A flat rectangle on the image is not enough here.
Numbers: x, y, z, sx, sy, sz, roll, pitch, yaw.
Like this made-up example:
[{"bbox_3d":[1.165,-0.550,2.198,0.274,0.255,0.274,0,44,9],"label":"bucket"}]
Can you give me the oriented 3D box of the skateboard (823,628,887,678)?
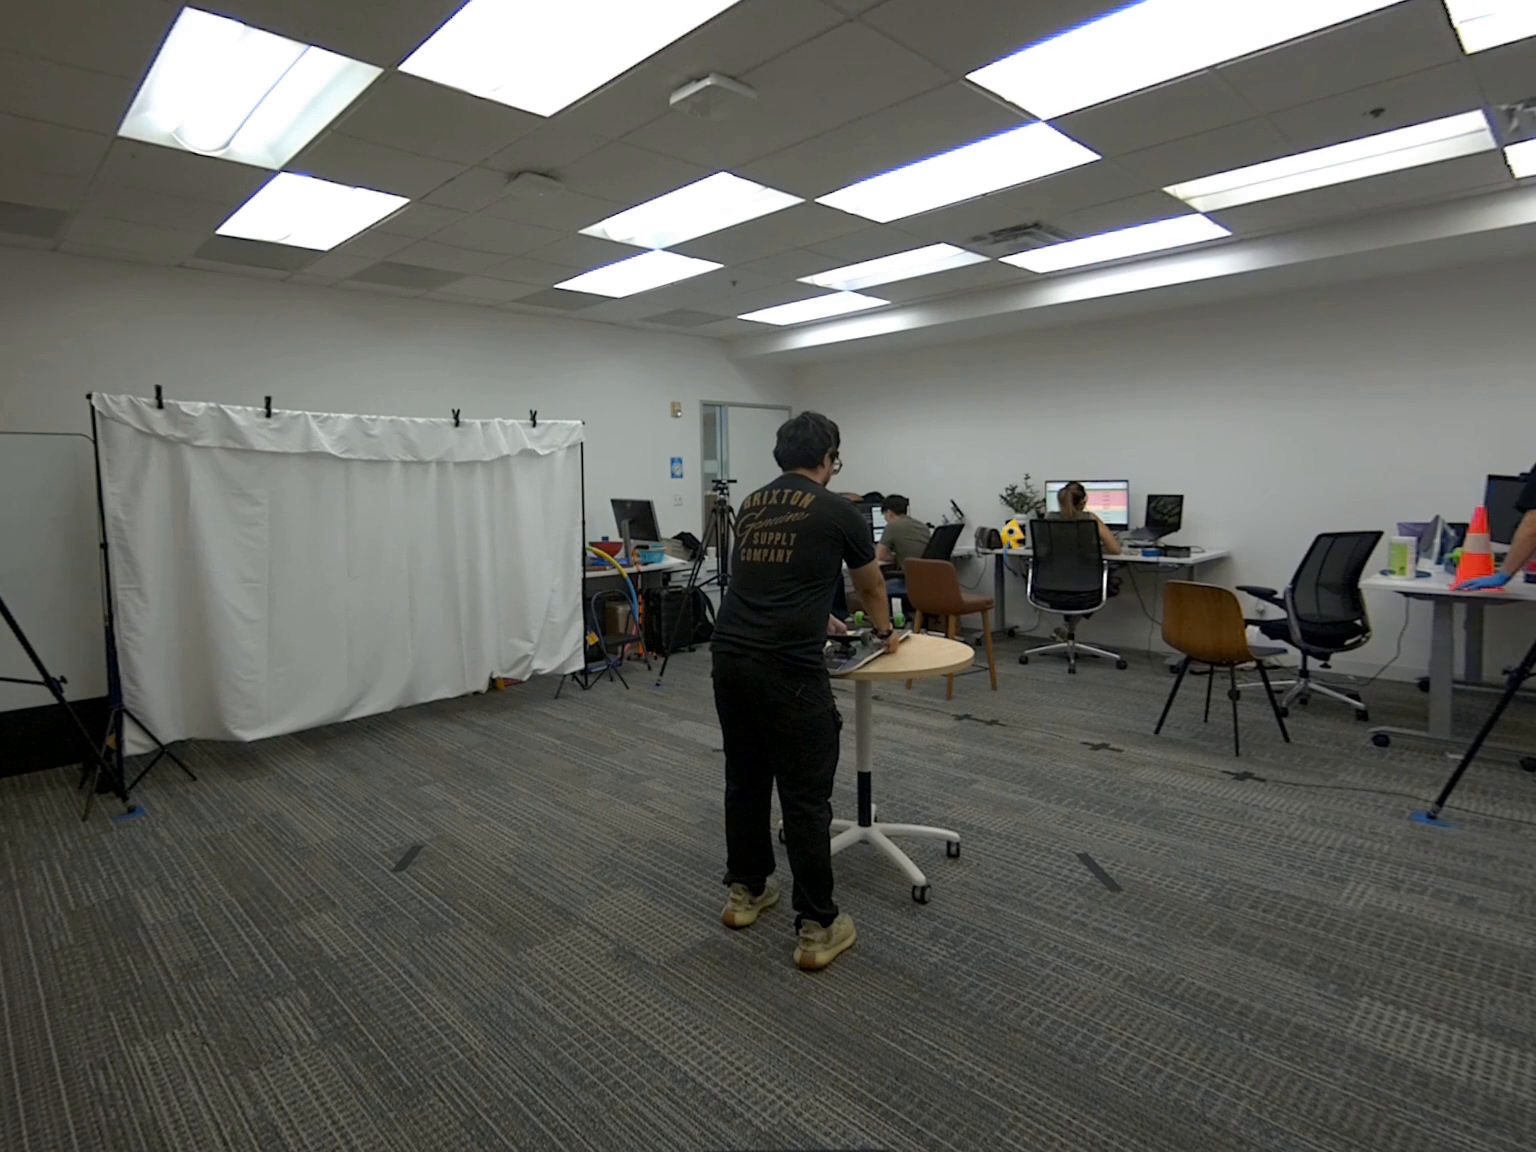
[{"bbox_3d":[0.359,0.217,3.039,0.198,0.110,0.770,-2,6,28],"label":"skateboard"}]
